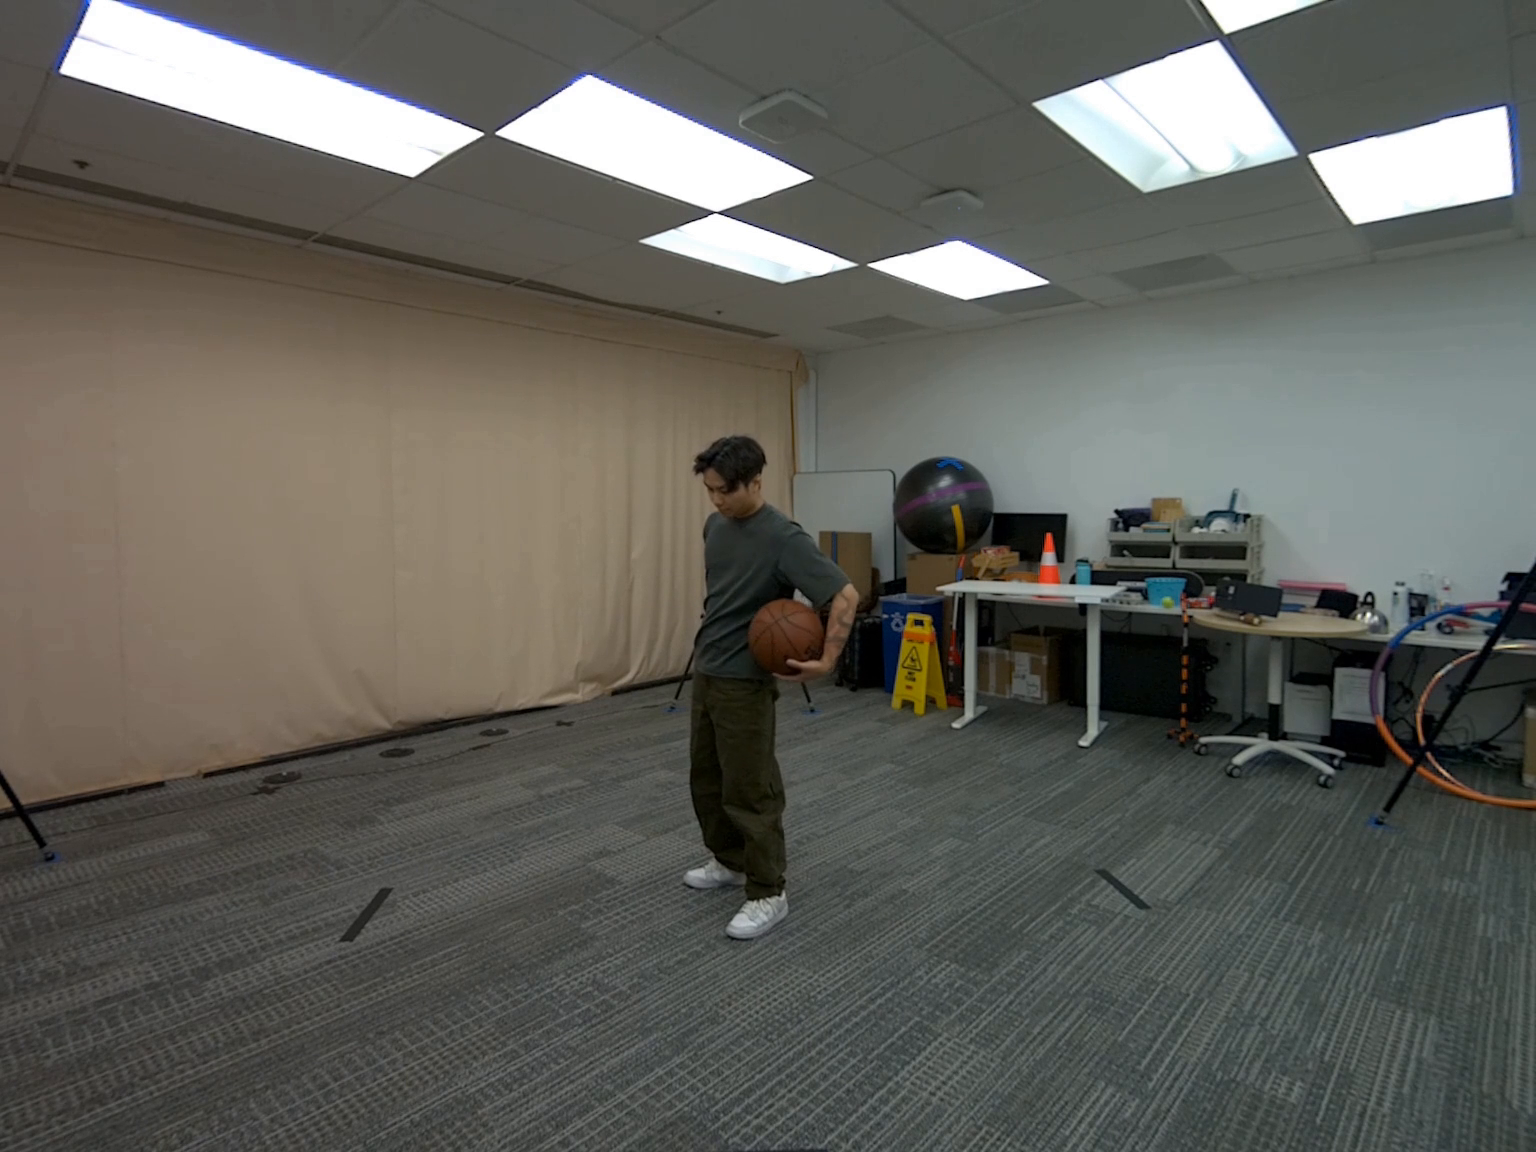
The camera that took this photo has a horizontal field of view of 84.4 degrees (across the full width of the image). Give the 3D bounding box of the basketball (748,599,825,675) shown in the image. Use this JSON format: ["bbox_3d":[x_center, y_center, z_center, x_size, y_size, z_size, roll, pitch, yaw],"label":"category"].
[{"bbox_3d":[0.053,0.187,2.654,0.236,0.235,0.237,0,4,-2],"label":"basketball"}]
